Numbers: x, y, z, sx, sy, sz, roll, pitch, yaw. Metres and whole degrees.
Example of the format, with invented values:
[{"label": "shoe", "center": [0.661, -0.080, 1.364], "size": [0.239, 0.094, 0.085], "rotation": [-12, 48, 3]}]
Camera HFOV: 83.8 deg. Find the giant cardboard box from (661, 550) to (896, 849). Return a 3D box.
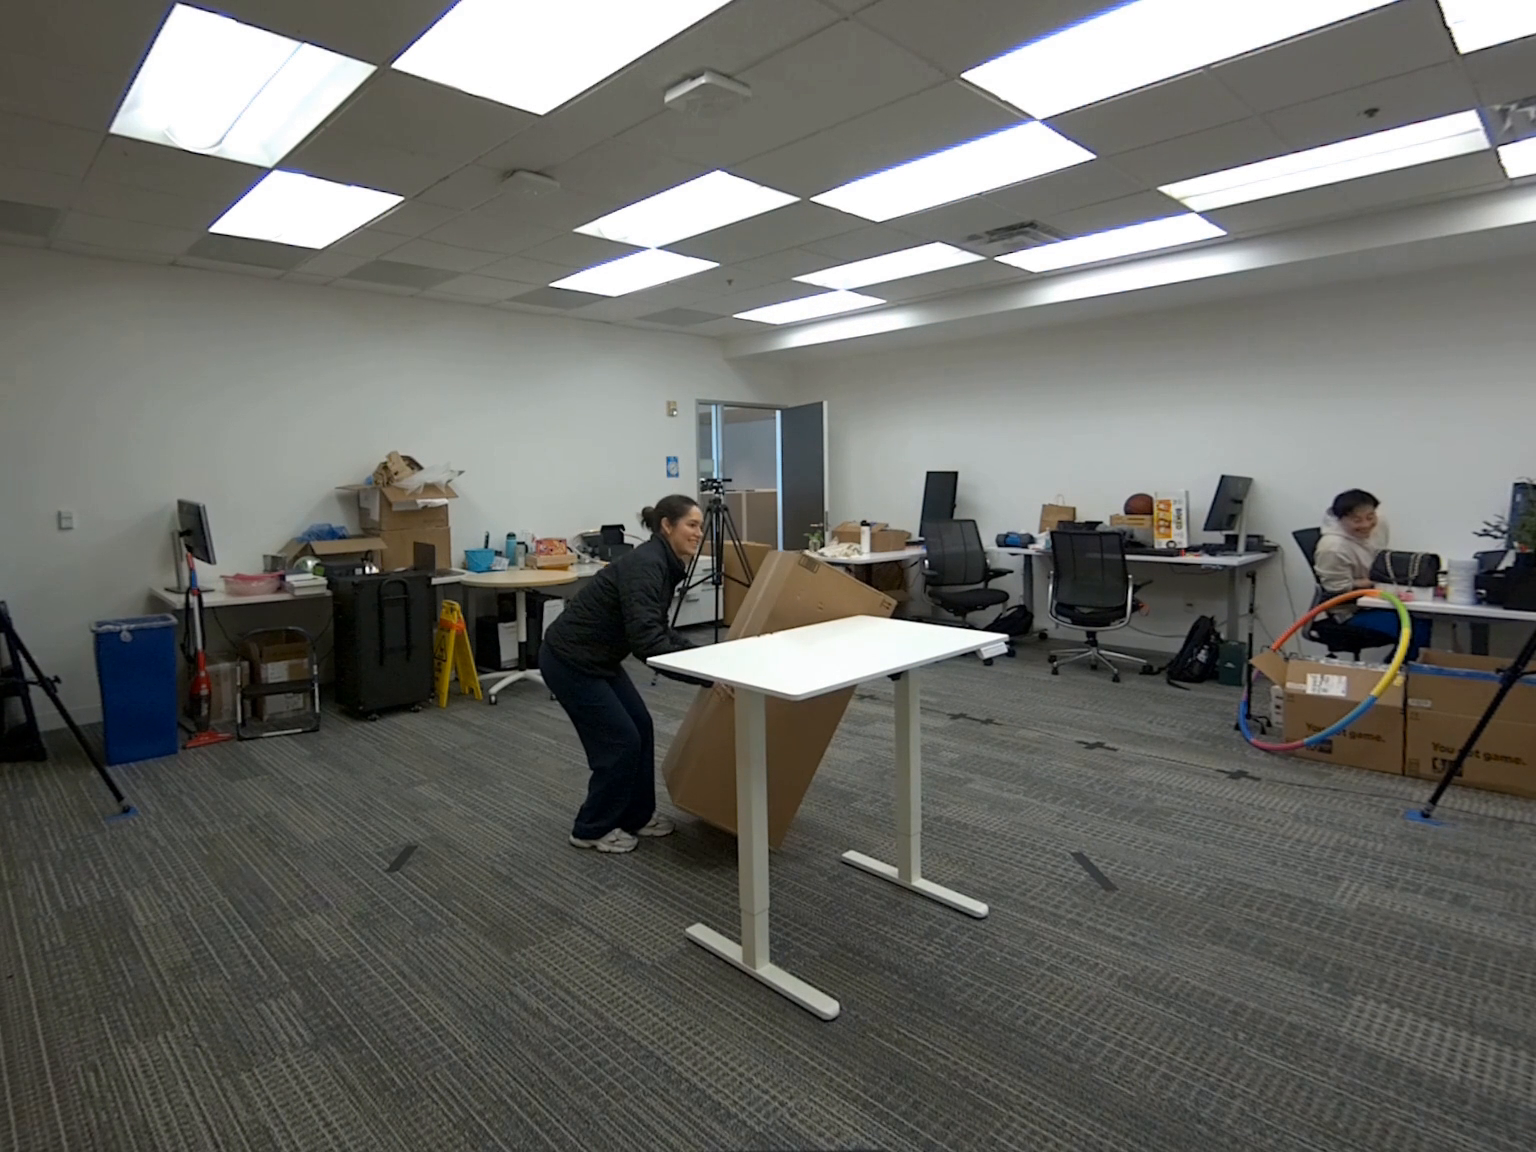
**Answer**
[{"label": "giant cardboard box", "center": [0.015, 0.447, 3.385], "size": [0.422, 1.028, 0.582], "rotation": [27, -6, -9]}]
